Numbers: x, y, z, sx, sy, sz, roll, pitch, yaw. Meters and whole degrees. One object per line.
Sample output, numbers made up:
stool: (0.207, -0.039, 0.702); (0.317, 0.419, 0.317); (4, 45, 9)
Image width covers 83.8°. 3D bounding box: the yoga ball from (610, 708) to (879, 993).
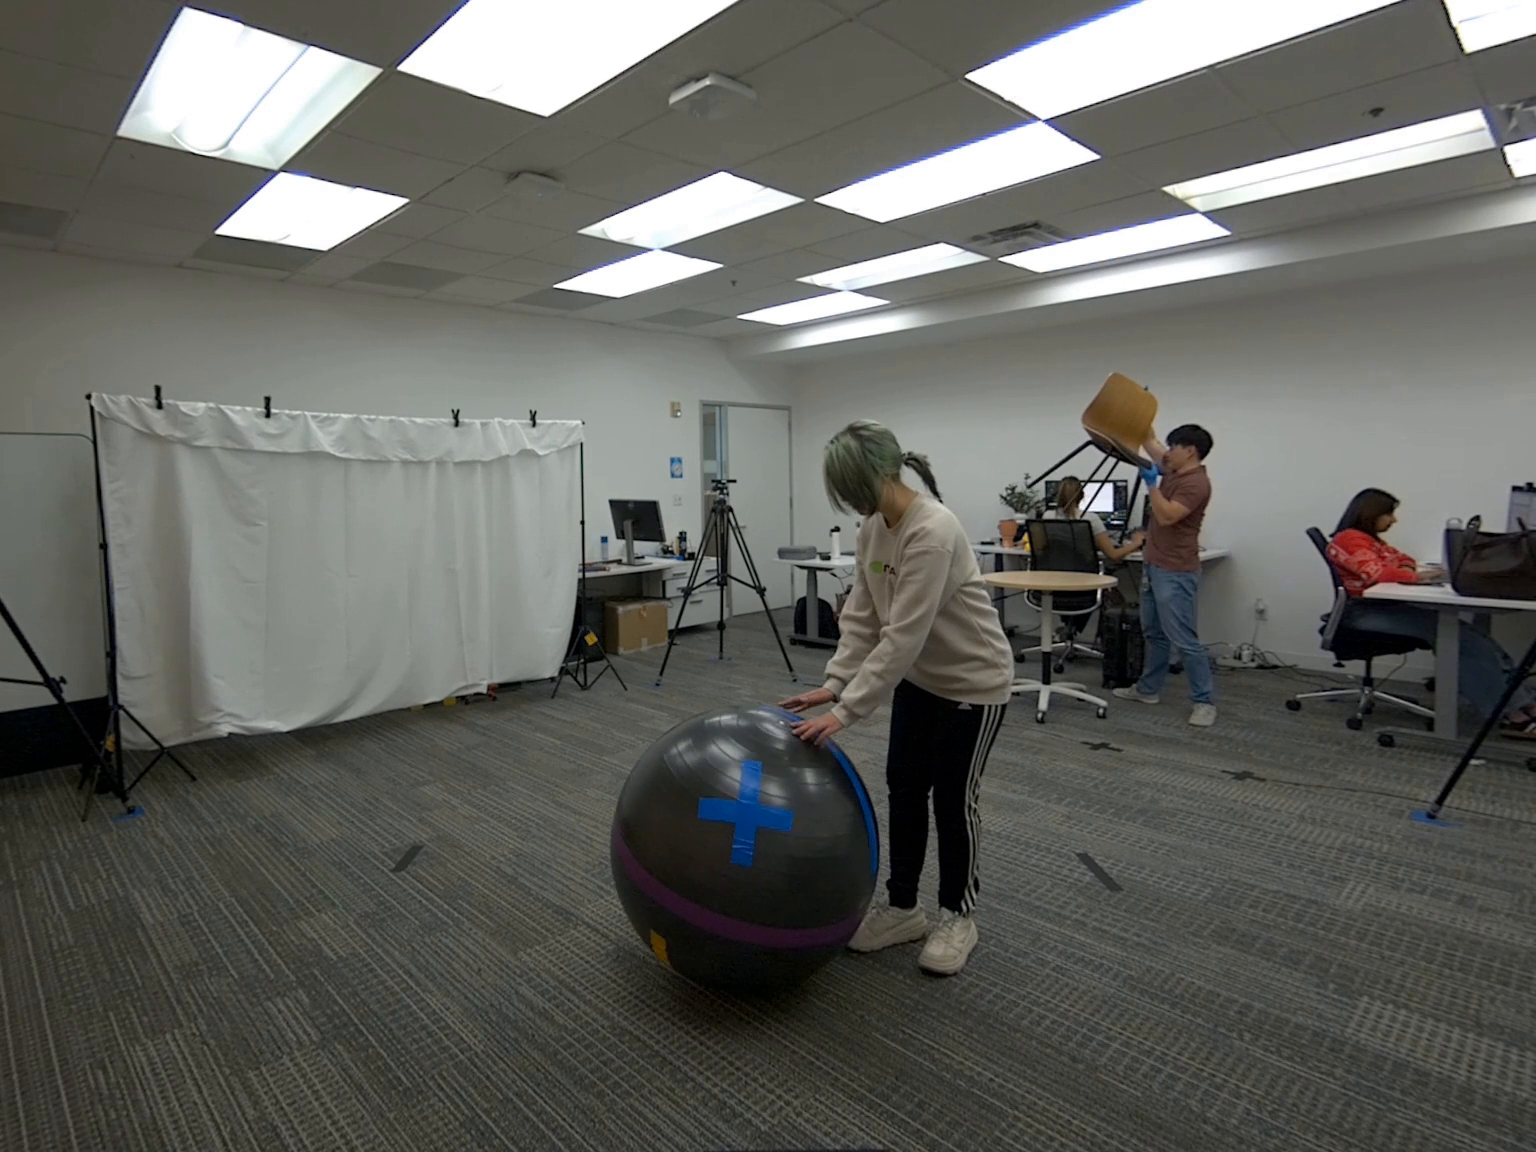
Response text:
yoga ball: (-0.065, 0.753, 2.421); (0.757, 0.755, 0.762); (-1, 5, -2)
